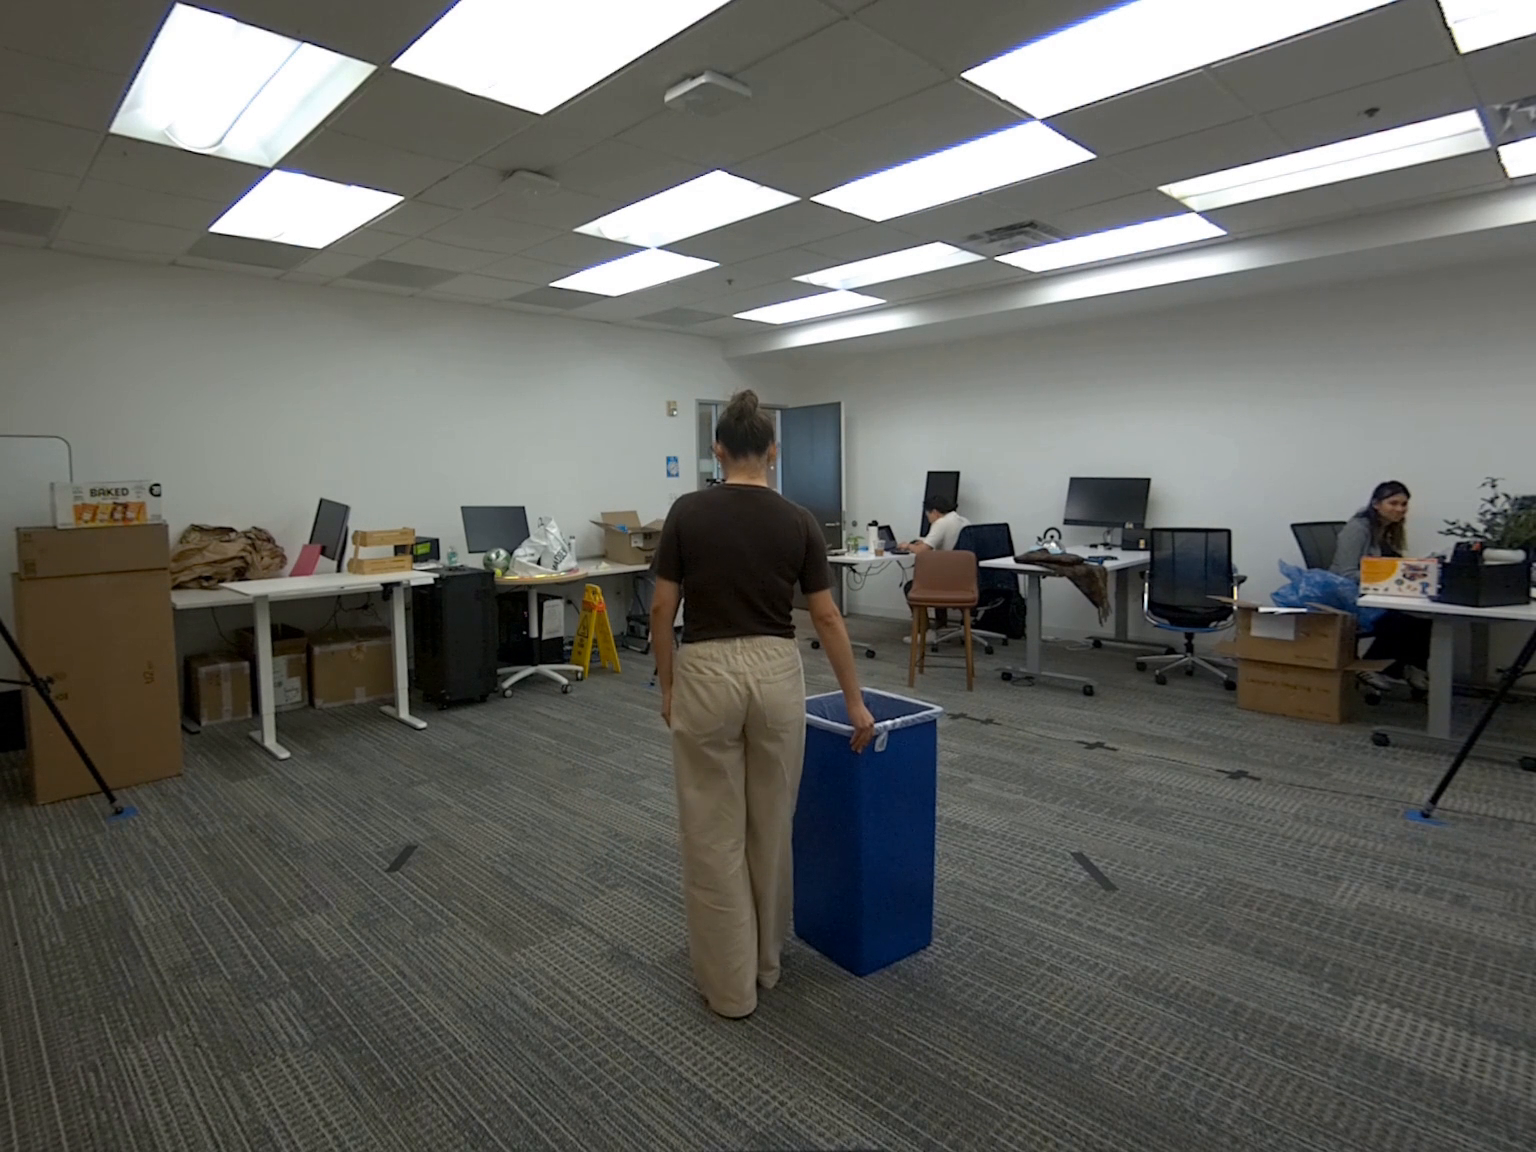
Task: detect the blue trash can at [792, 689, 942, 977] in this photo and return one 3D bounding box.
[{"bbox_3d":[0.287,0.743,2.572,0.365,0.711,0.389,-5,5,-36],"label":"blue trash can"}]
